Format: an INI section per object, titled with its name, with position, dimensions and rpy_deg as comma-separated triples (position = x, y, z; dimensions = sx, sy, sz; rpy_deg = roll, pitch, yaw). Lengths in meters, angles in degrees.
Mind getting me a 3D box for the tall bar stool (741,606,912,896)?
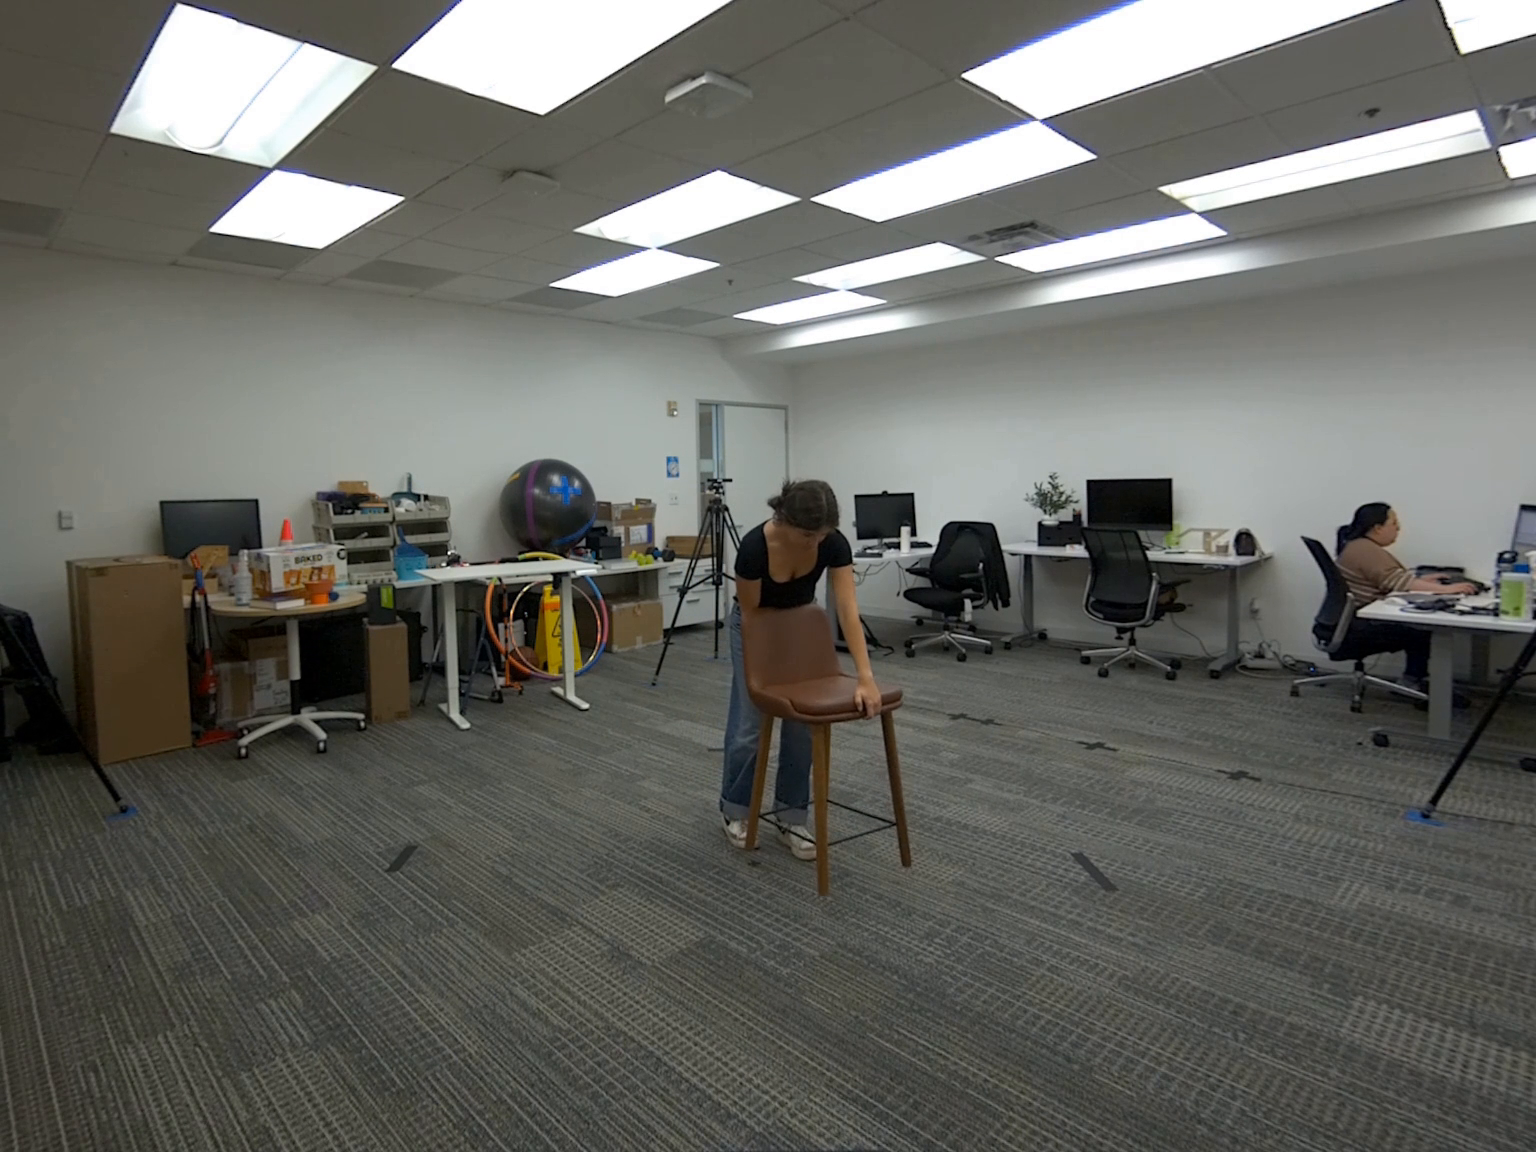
[tall bar stool]
position = 0.191, 0.566, 3.001
dimensions = 0.444, 0.890, 0.480
rpy_deg = -1, -1, -36
